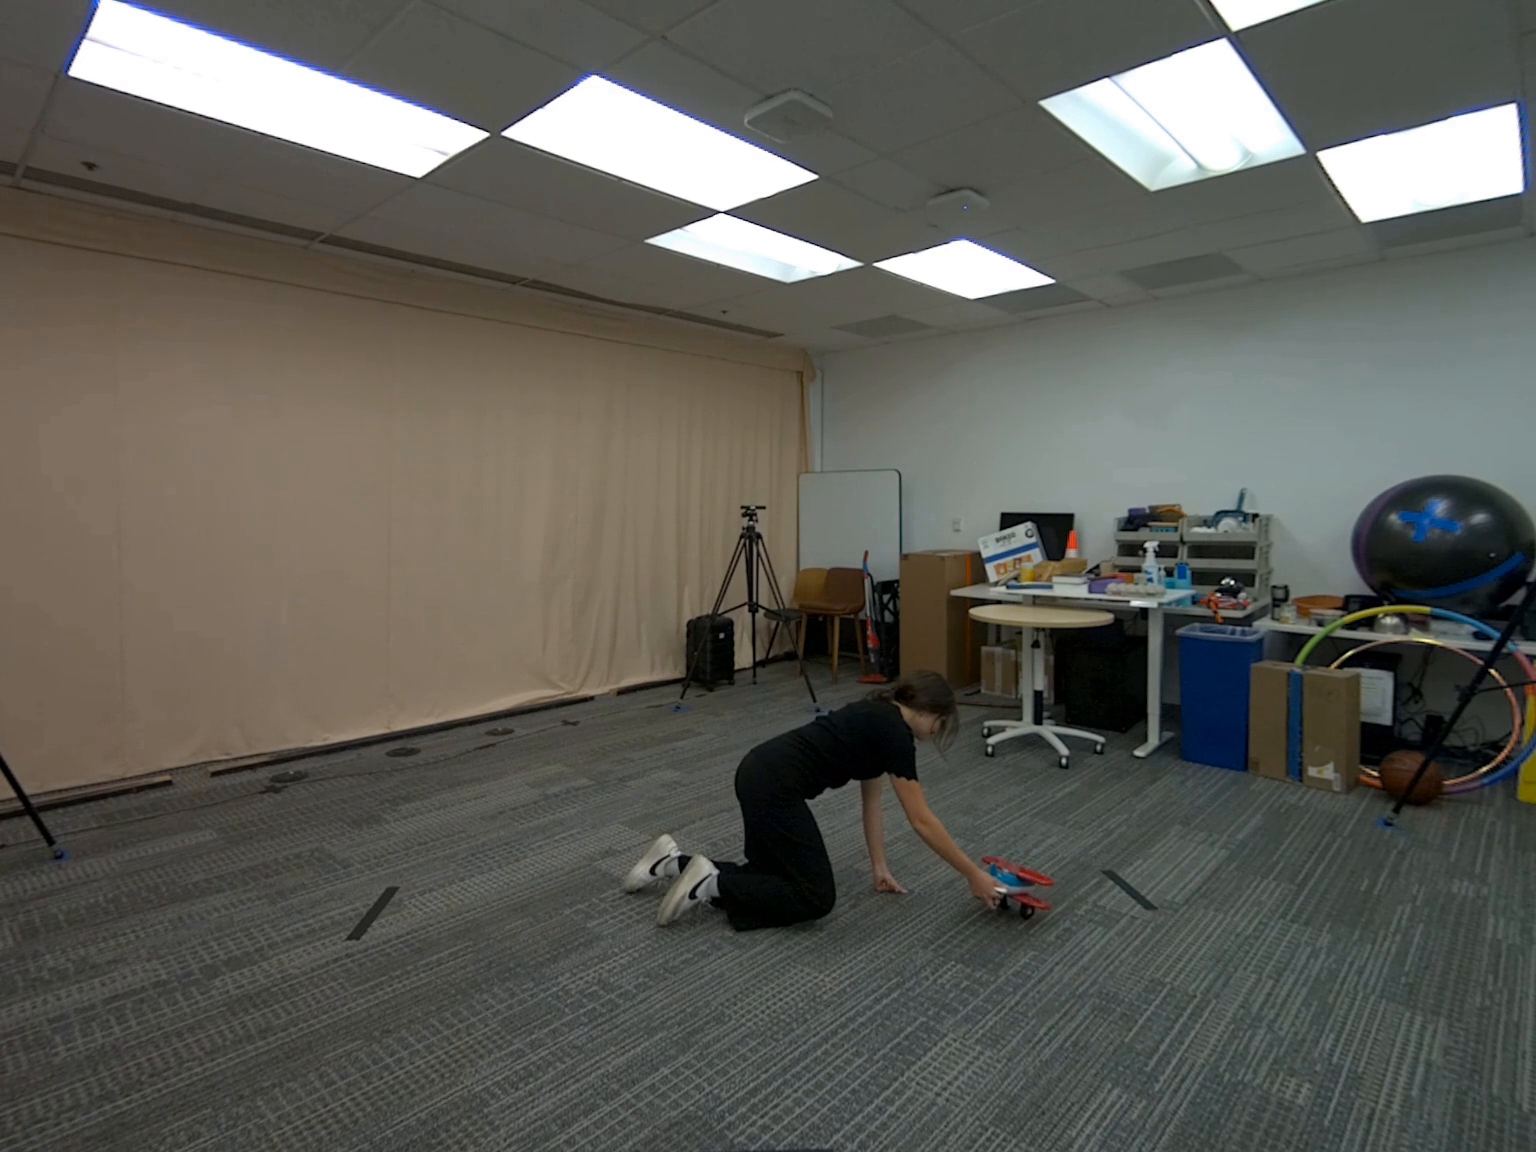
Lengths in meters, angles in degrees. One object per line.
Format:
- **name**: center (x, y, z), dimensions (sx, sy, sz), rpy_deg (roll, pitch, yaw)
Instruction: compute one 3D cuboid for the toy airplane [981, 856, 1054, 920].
- **toy airplane**: center (0.832, 1.052, 2.817), dimensions (0.257, 0.157, 0.252), rpy_deg (16, -15, 21)
